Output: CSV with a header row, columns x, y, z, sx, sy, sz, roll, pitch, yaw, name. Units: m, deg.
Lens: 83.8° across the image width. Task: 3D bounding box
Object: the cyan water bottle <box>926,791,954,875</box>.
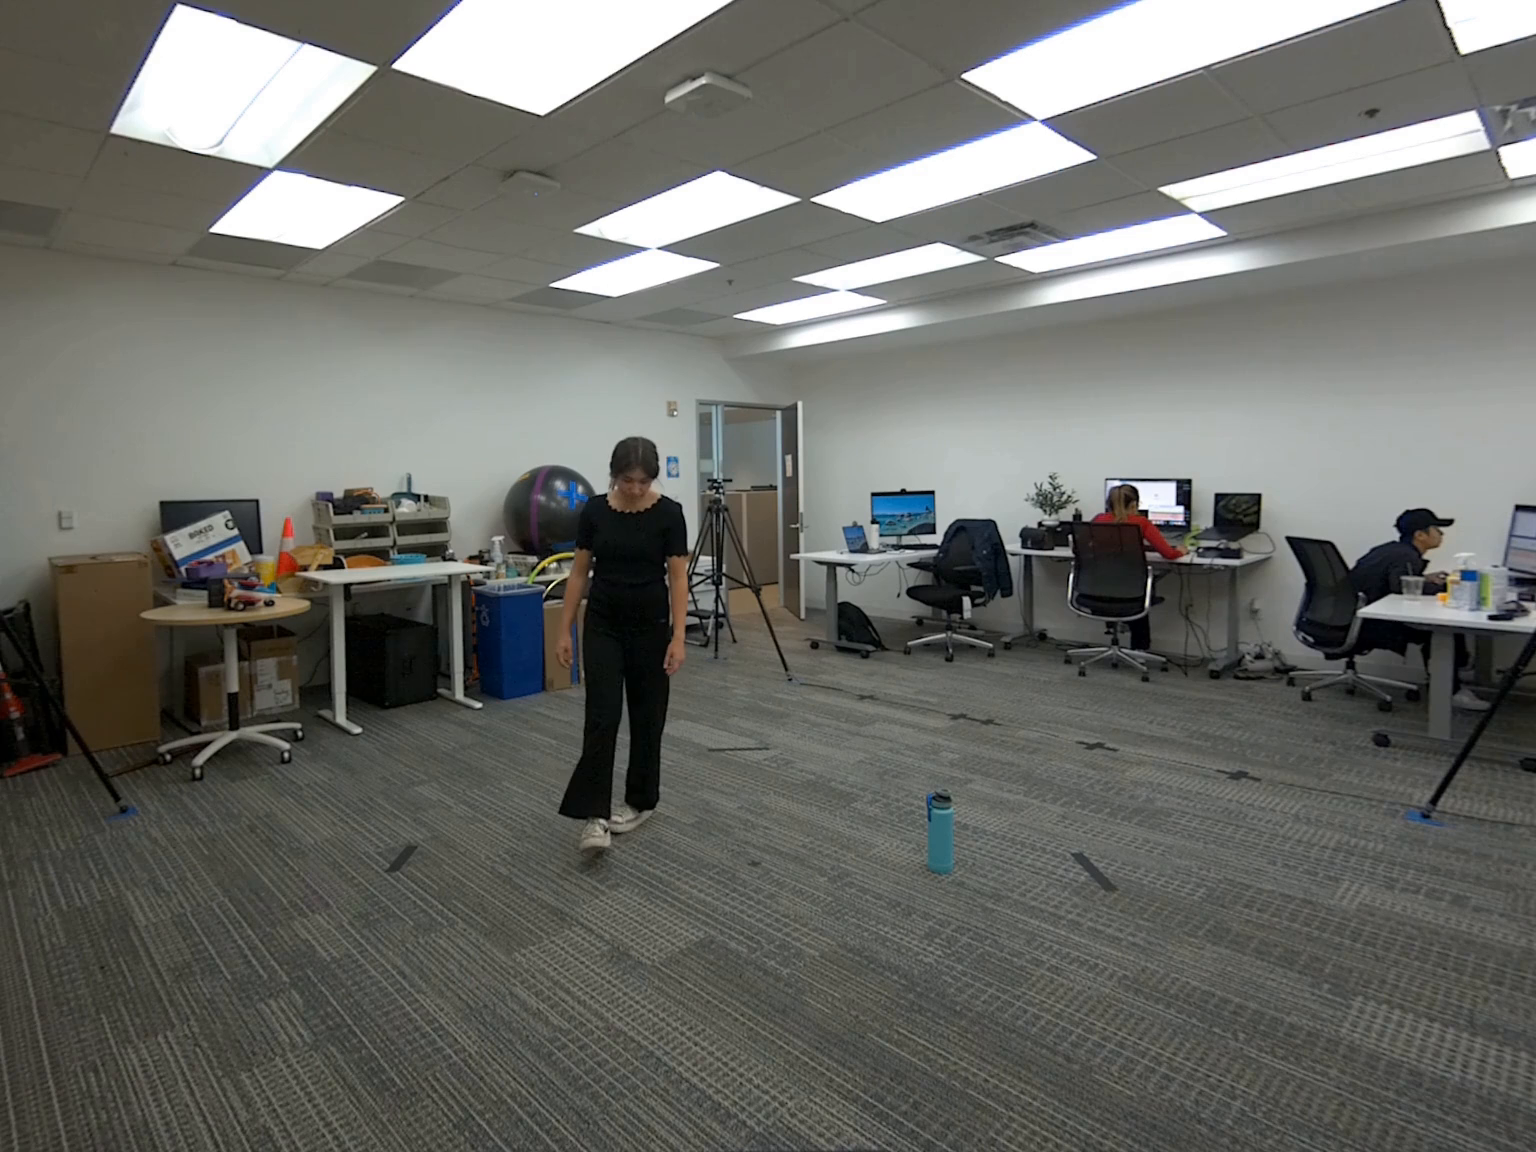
x,y,z,sx,sy,sz,roll,pitch,yaw,name
0.613,0.901,3.028,0.092,0.282,0.093,-1,3,-2,cyan water bottle
